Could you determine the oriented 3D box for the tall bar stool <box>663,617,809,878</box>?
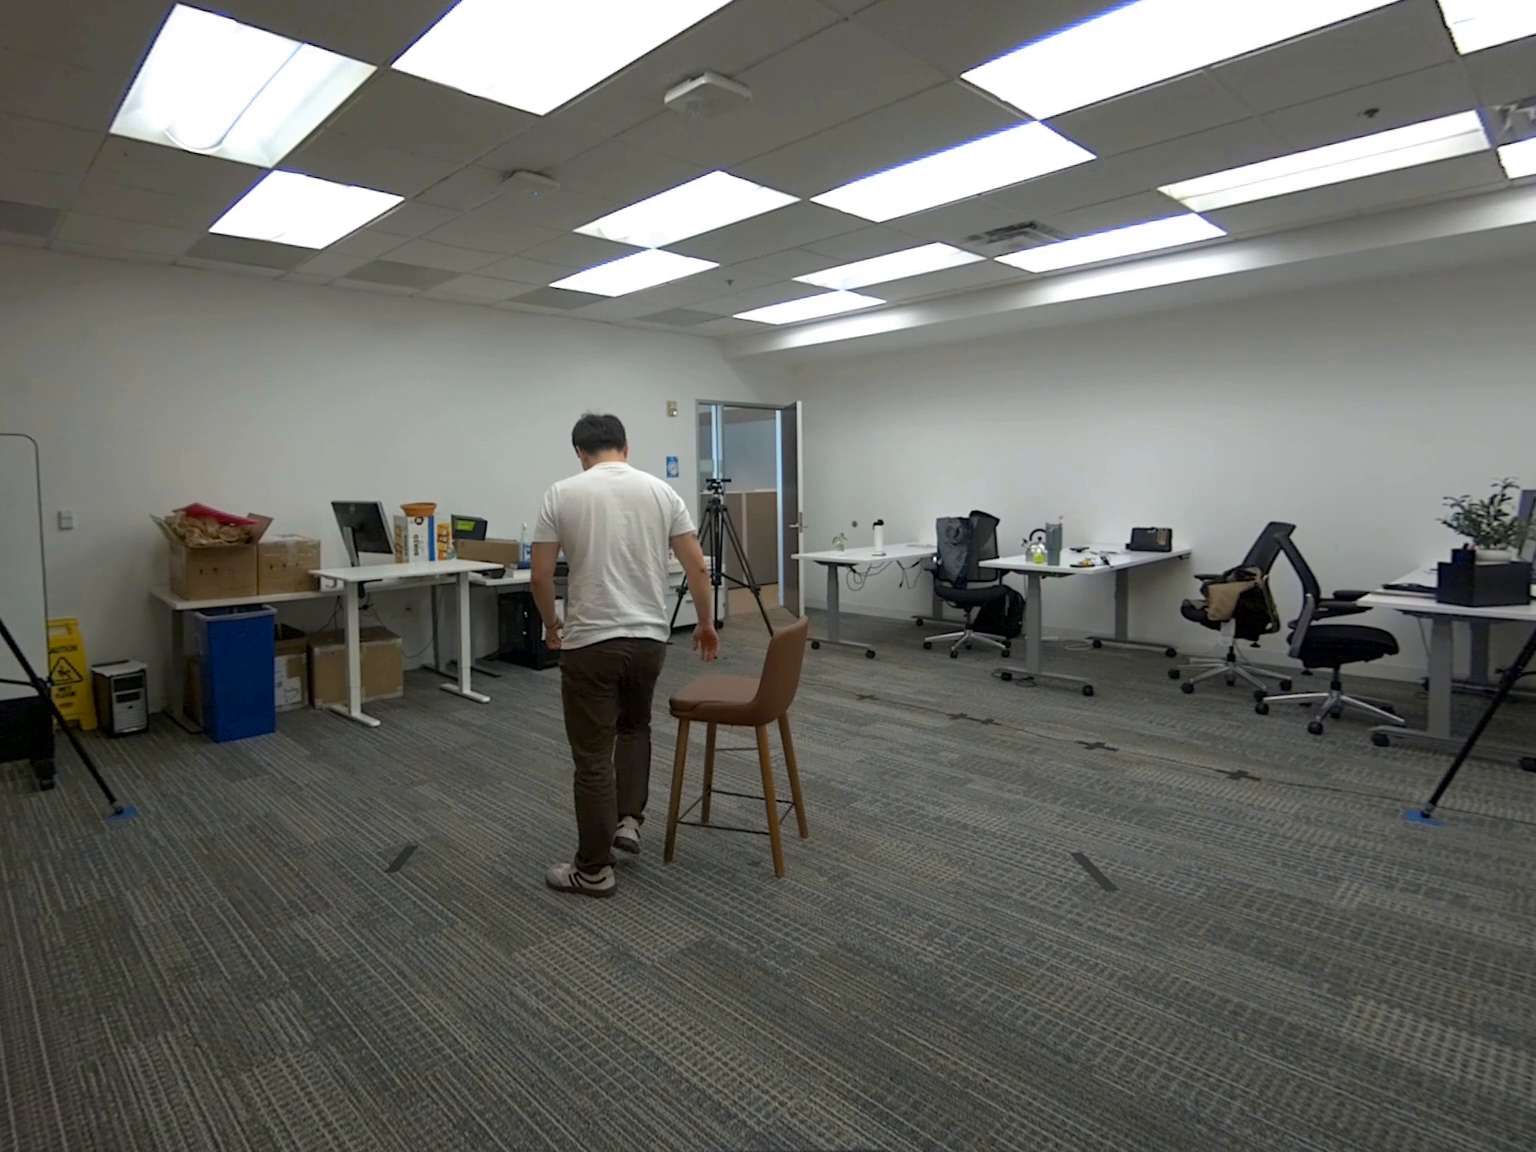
[{"bbox_3d":[-0.108,0.598,3.218,0.477,0.886,0.449,3,5,20],"label":"tall bar stool"}]
